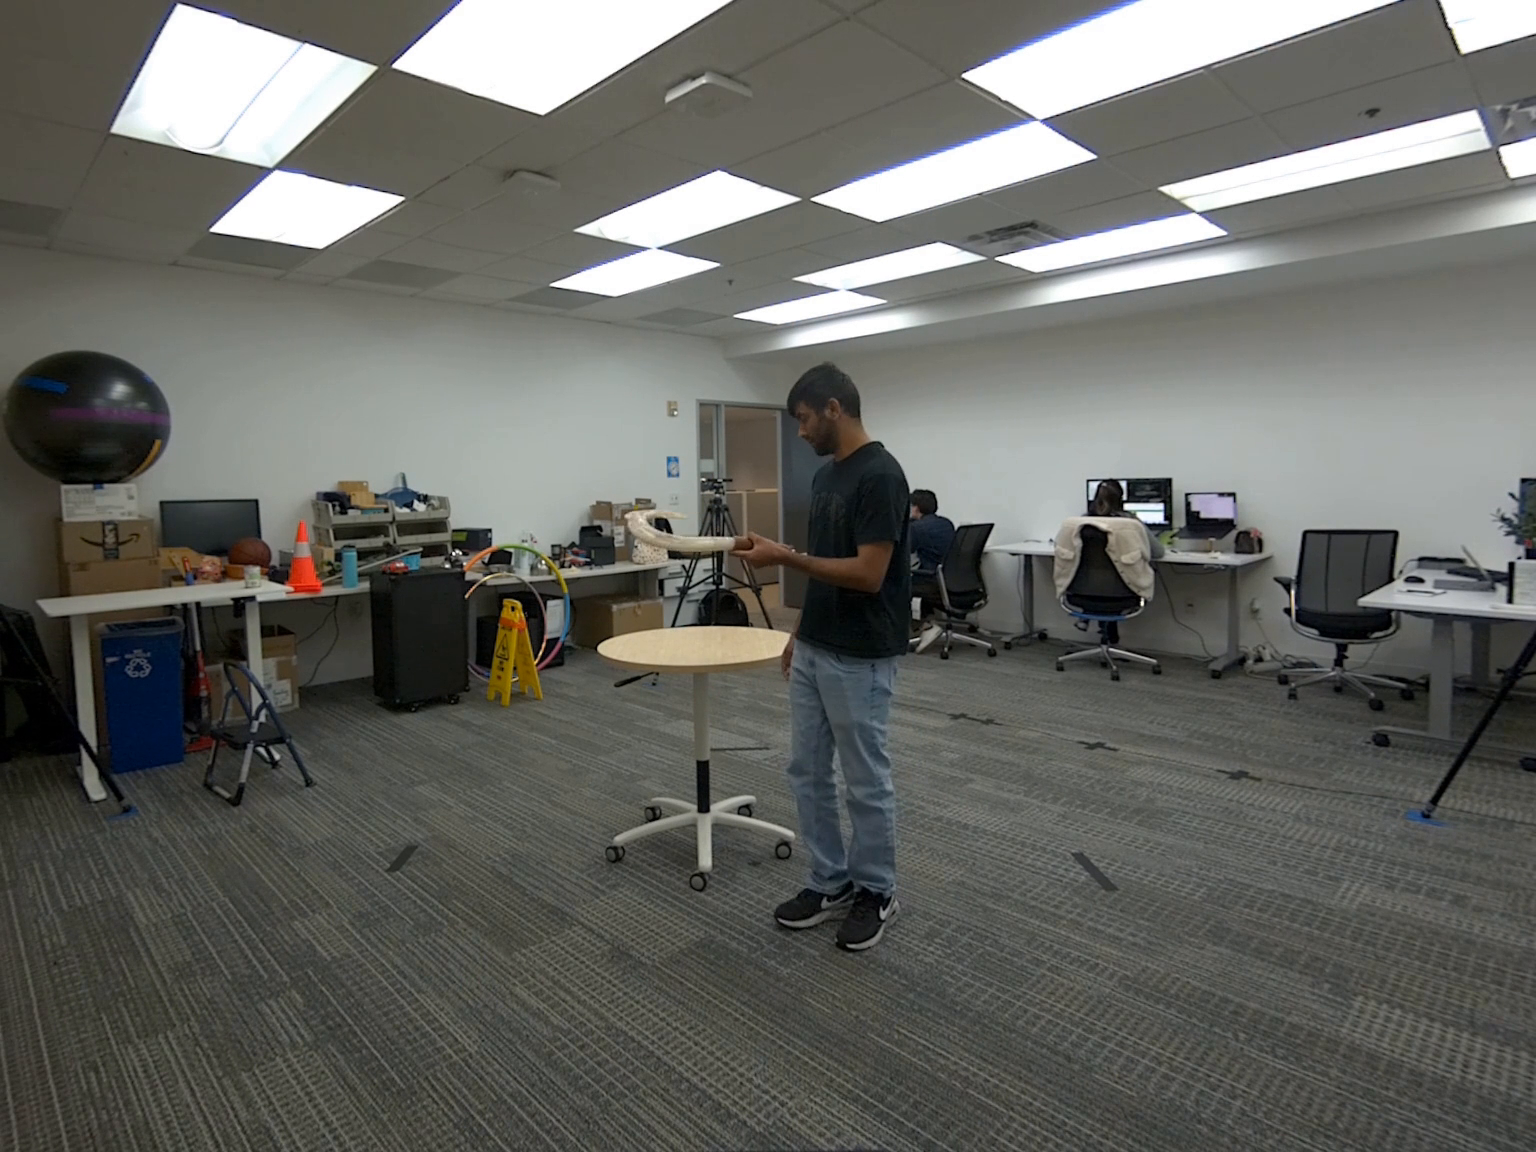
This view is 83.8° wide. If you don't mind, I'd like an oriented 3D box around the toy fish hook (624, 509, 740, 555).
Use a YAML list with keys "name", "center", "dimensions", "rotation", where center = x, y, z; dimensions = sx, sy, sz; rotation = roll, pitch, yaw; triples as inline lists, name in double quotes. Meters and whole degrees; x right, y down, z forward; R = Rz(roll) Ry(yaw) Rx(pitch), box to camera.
- name: "toy fish hook"
  center: [-0.155, -0.126, 2.485]
  dimensions: [0.495, 0.048, 0.232]
  rotation: [7, 31, -22]
